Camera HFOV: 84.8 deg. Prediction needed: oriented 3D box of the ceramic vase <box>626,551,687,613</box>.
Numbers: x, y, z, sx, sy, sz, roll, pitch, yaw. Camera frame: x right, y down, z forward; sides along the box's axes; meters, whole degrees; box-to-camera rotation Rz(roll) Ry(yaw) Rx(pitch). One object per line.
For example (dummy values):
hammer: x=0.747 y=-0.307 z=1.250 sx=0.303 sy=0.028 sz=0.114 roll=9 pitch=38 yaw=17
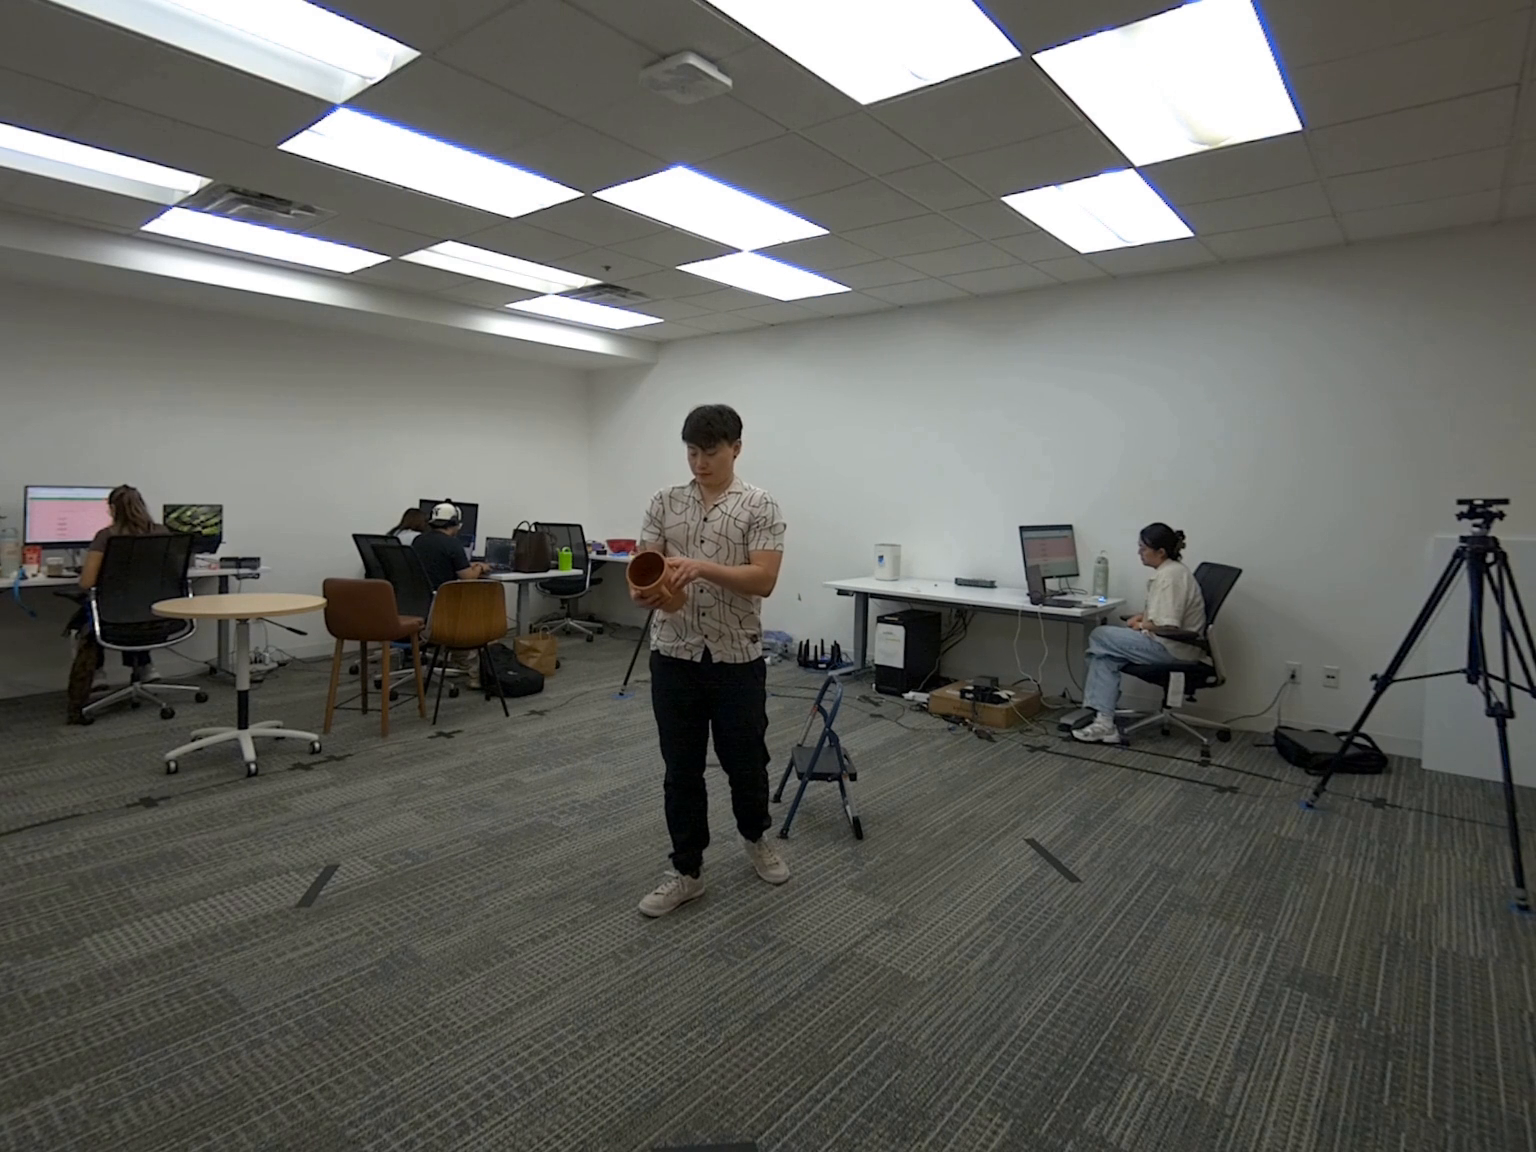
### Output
ceramic vase: x=-0.344 y=0.024 z=2.664 sx=0.137 sy=0.162 sz=0.211 roll=-6 pitch=-29 yaw=16
